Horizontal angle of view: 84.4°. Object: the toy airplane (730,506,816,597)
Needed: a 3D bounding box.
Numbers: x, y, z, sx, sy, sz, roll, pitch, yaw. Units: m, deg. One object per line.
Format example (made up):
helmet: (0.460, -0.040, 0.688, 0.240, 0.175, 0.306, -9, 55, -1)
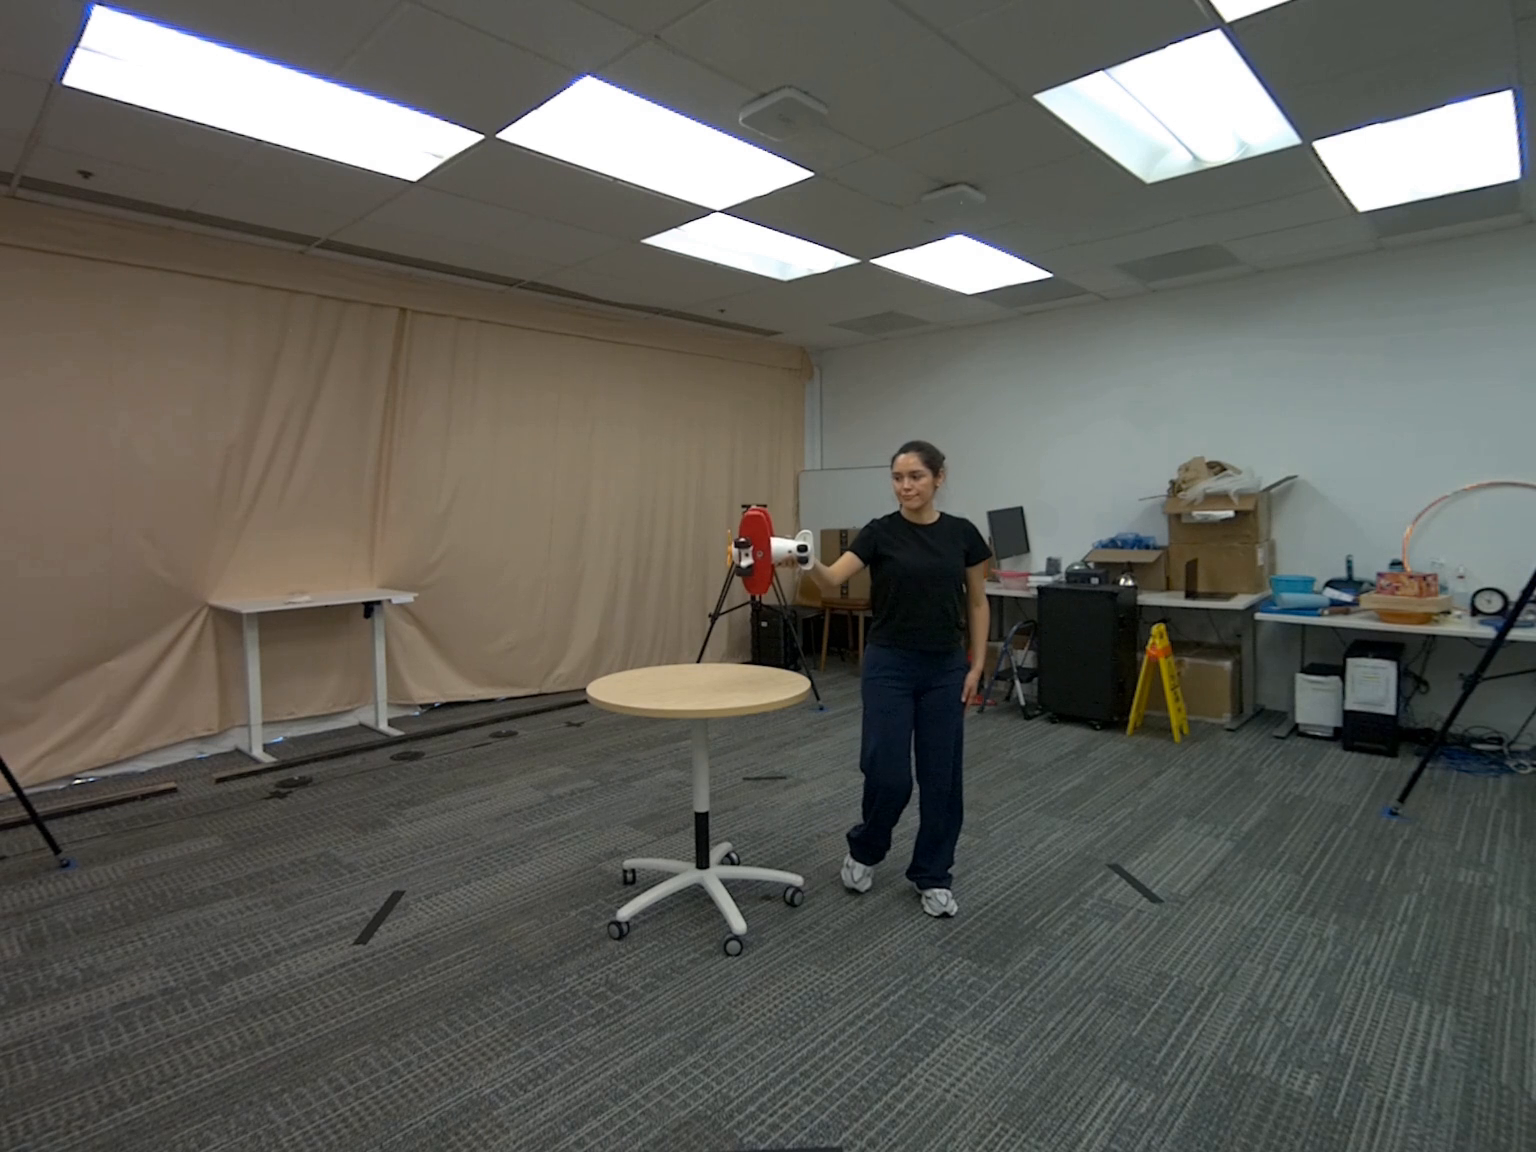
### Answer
toy airplane: (0.023, -0.055, 2.563, 0.256, 0.251, 0.159, 23, 9, -11)
